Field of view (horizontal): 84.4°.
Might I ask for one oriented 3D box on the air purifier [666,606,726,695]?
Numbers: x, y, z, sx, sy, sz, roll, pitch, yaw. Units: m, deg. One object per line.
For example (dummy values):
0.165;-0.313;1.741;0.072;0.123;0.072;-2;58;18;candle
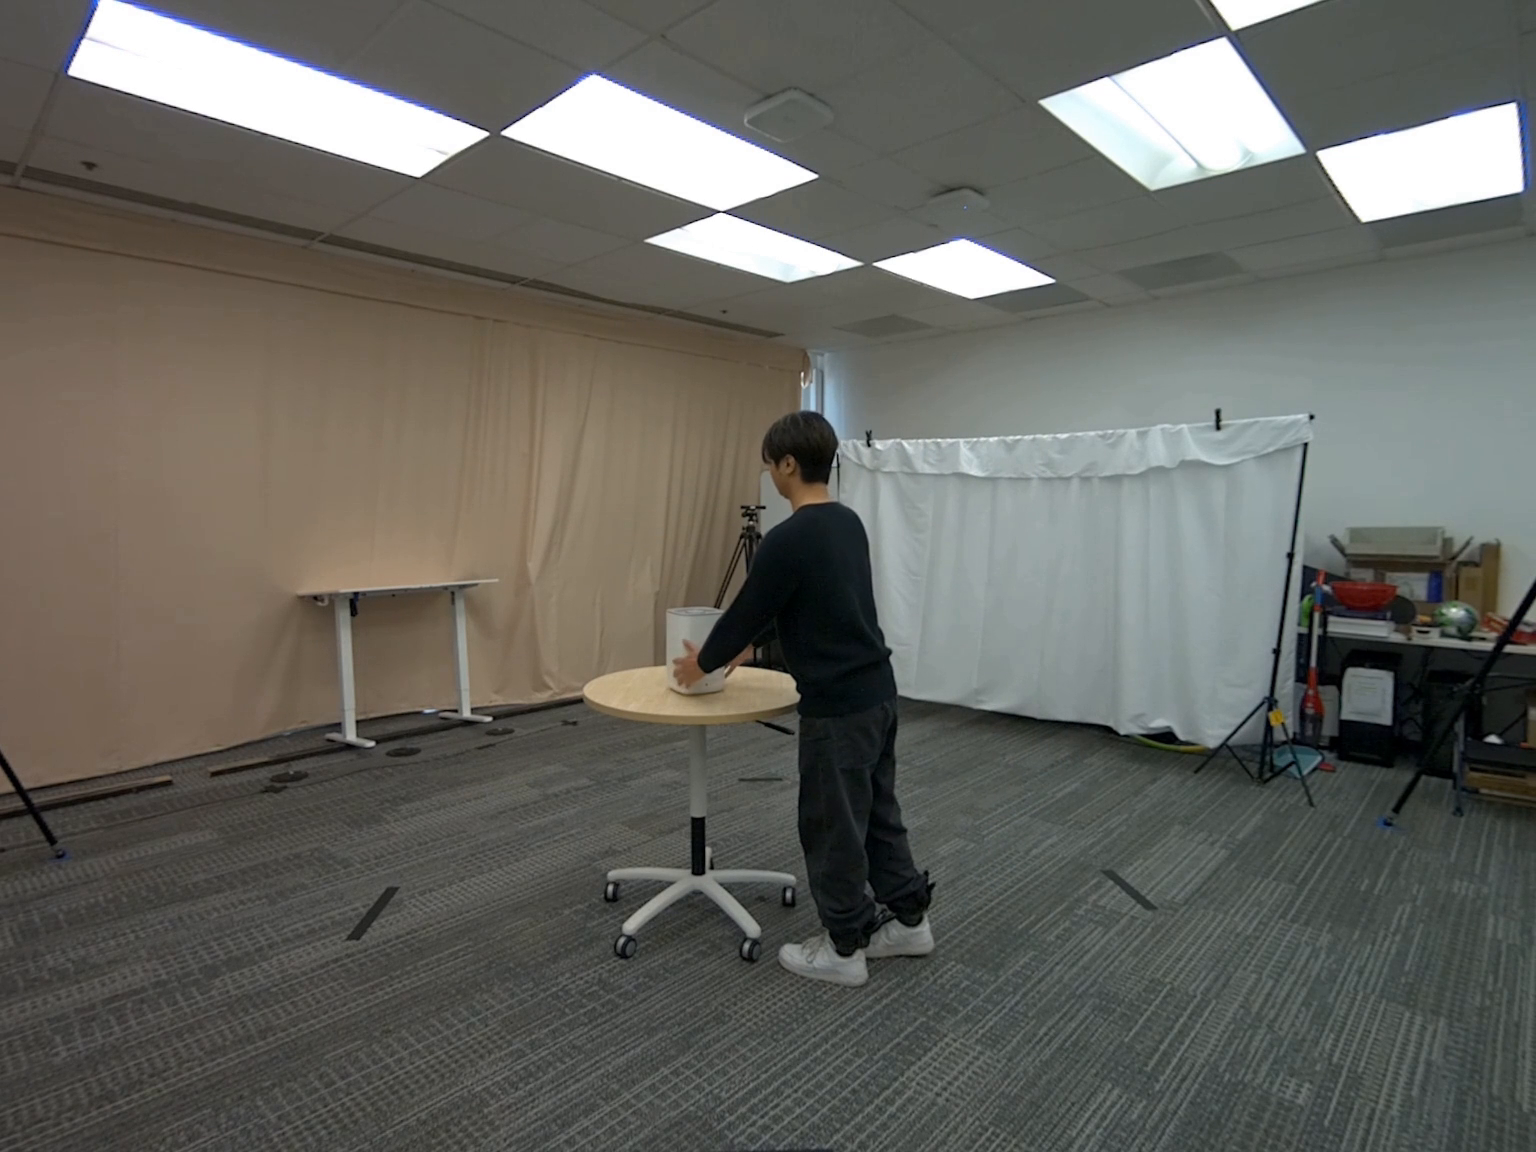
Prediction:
-0.235;0.246;2.782;0.166;0.265;0.176;-2;4;-29;air purifier
